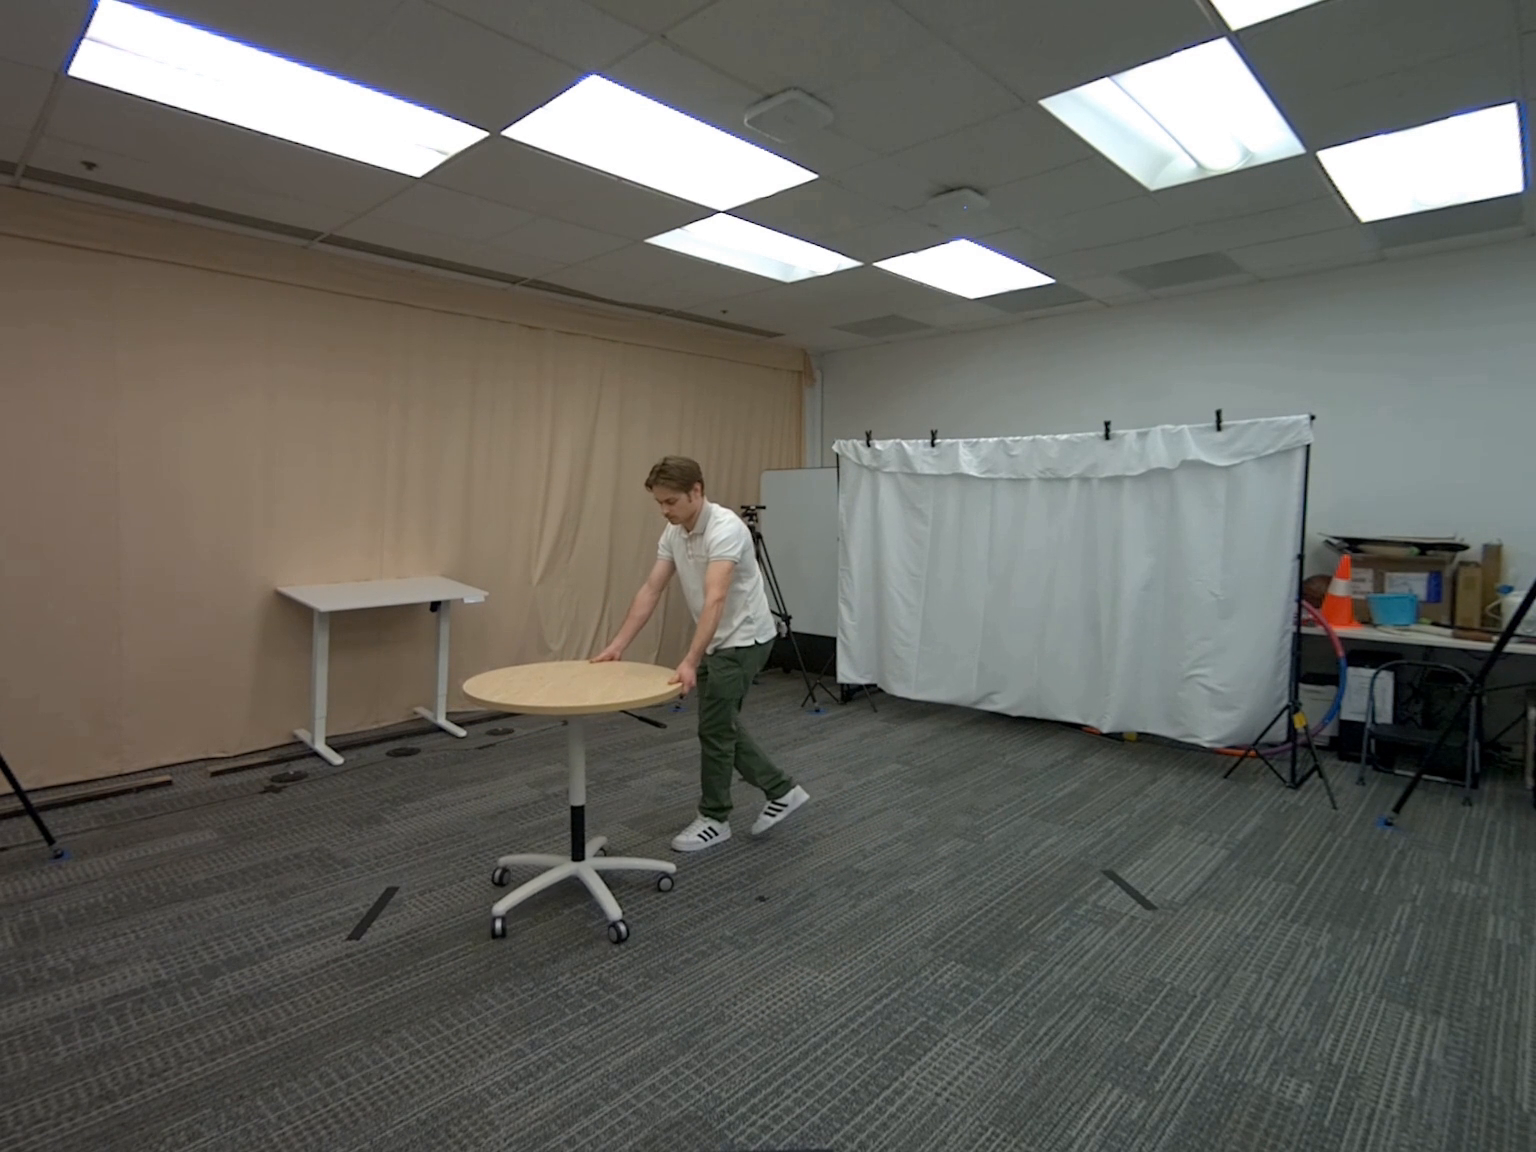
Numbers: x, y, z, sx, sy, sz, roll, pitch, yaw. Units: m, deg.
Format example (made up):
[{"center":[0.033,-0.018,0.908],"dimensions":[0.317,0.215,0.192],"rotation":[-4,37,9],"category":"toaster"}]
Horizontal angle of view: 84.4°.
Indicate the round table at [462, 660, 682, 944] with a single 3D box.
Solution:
[{"center":[-0.668,0.755,2.988],"dimensions":[0.784,0.785,0.788],"rotation":[0,4,-2],"category":"round table"}]
